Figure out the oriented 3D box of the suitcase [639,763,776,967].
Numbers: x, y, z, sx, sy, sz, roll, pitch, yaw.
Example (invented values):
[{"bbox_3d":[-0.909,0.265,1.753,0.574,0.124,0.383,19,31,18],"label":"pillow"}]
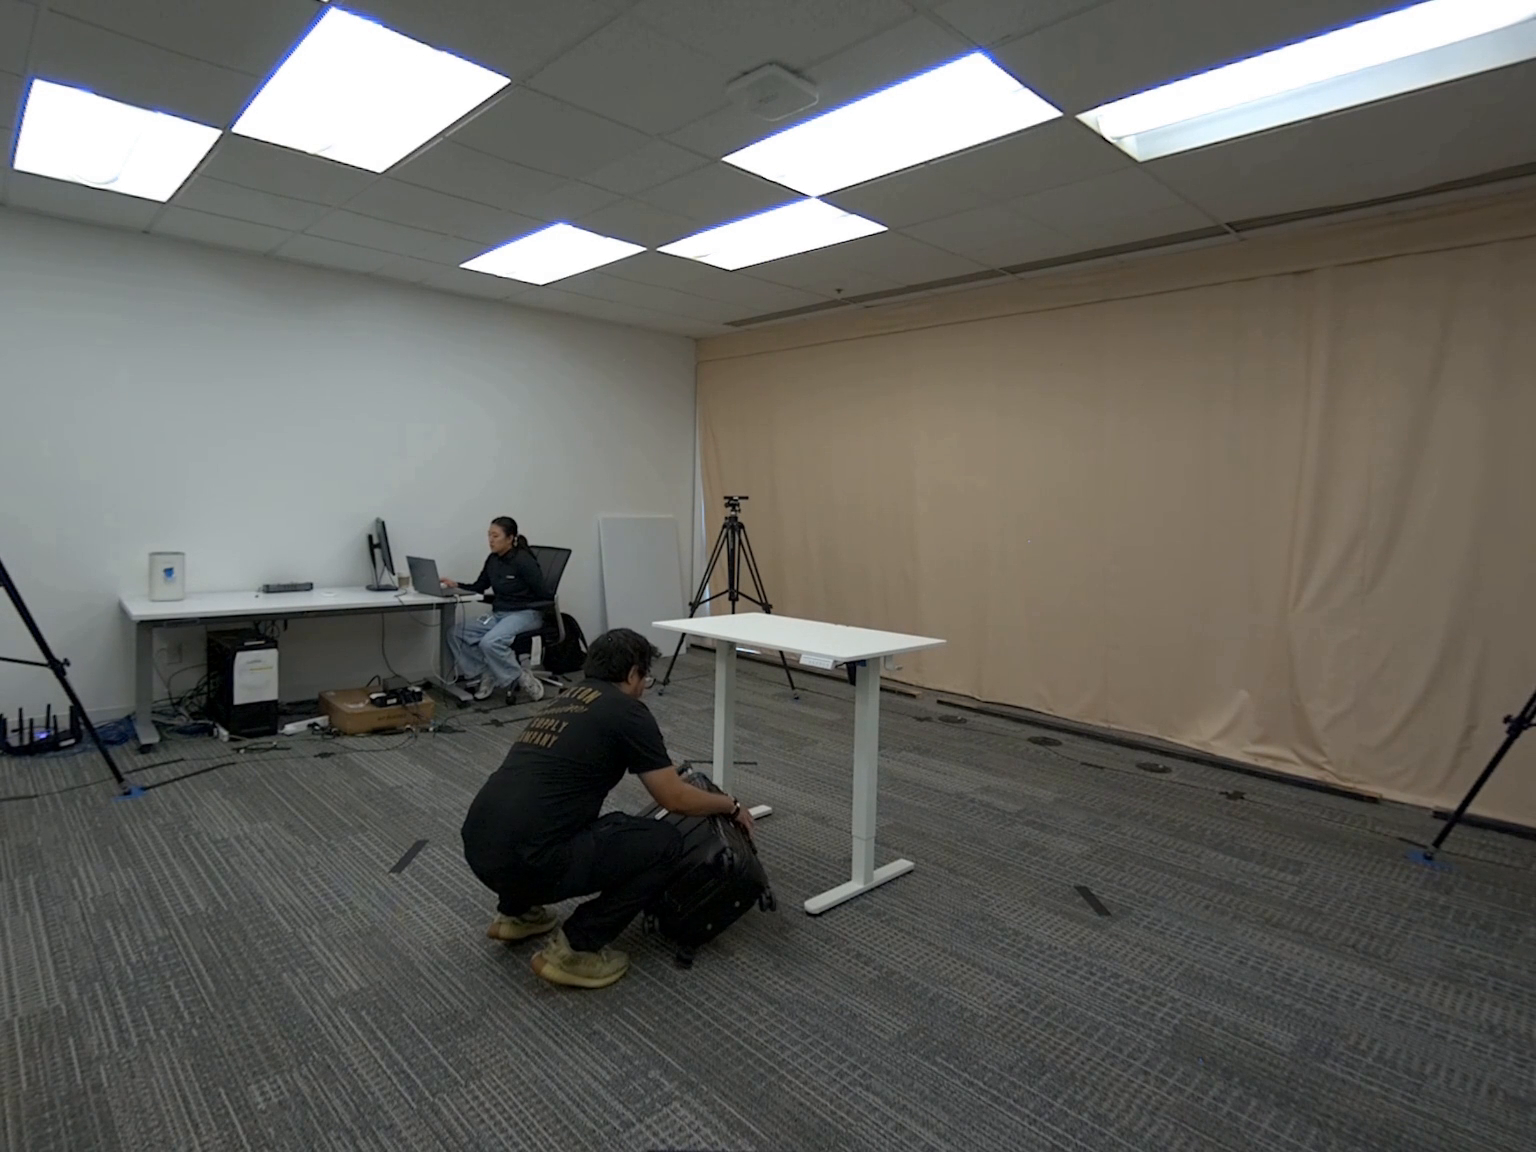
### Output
[{"bbox_3d":[-0.295,0.862,2.892,0.384,0.251,1.000,-40,23,-3],"label":"suitcase"}]
